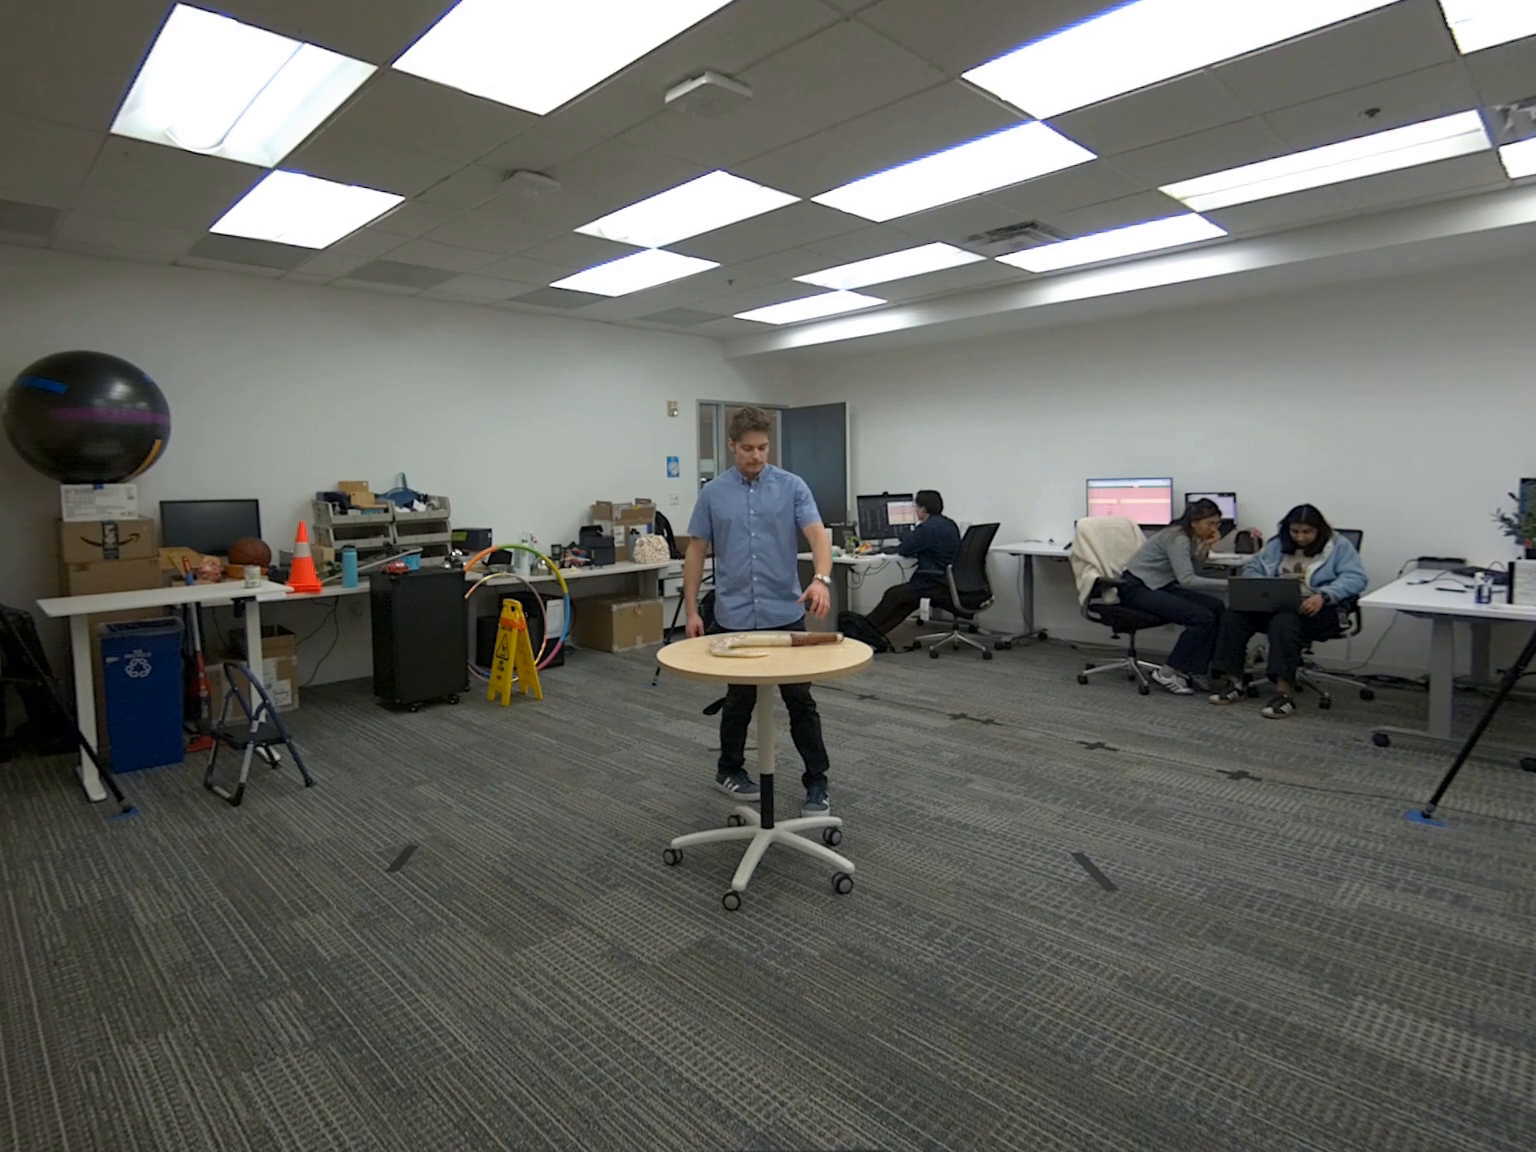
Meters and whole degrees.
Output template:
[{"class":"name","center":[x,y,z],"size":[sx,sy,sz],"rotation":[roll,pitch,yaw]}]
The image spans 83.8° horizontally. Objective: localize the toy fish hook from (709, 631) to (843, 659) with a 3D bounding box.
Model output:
[{"class":"toy fish hook","center":[0.038,0.257,3.063],"size":[0.502,0.048,0.229],"rotation":[-4,16,-9]}]
